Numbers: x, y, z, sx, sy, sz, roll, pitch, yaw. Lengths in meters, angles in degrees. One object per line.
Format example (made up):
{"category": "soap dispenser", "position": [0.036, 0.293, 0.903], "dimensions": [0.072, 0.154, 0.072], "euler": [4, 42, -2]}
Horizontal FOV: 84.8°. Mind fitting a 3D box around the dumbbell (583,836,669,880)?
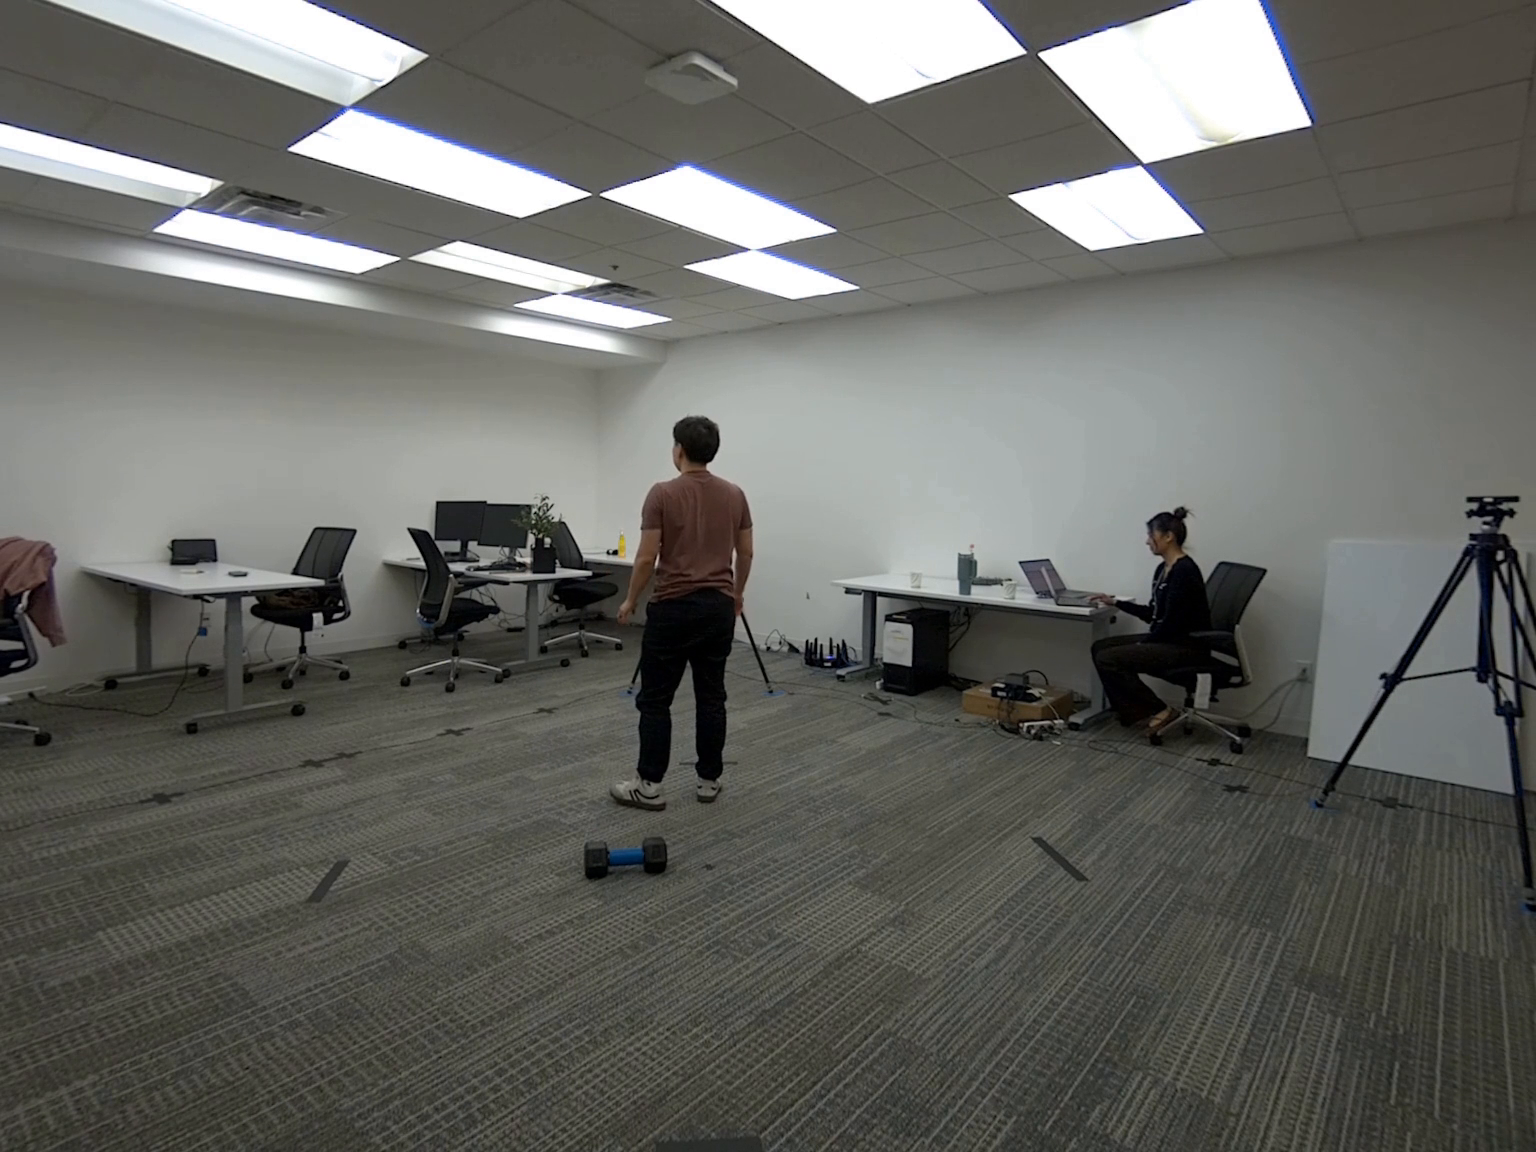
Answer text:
{"category": "dumbbell", "position": [-0.523, 1.011, 3.065], "dimensions": [0.289, 0.120, 0.112], "euler": [-1, 34, -14]}
